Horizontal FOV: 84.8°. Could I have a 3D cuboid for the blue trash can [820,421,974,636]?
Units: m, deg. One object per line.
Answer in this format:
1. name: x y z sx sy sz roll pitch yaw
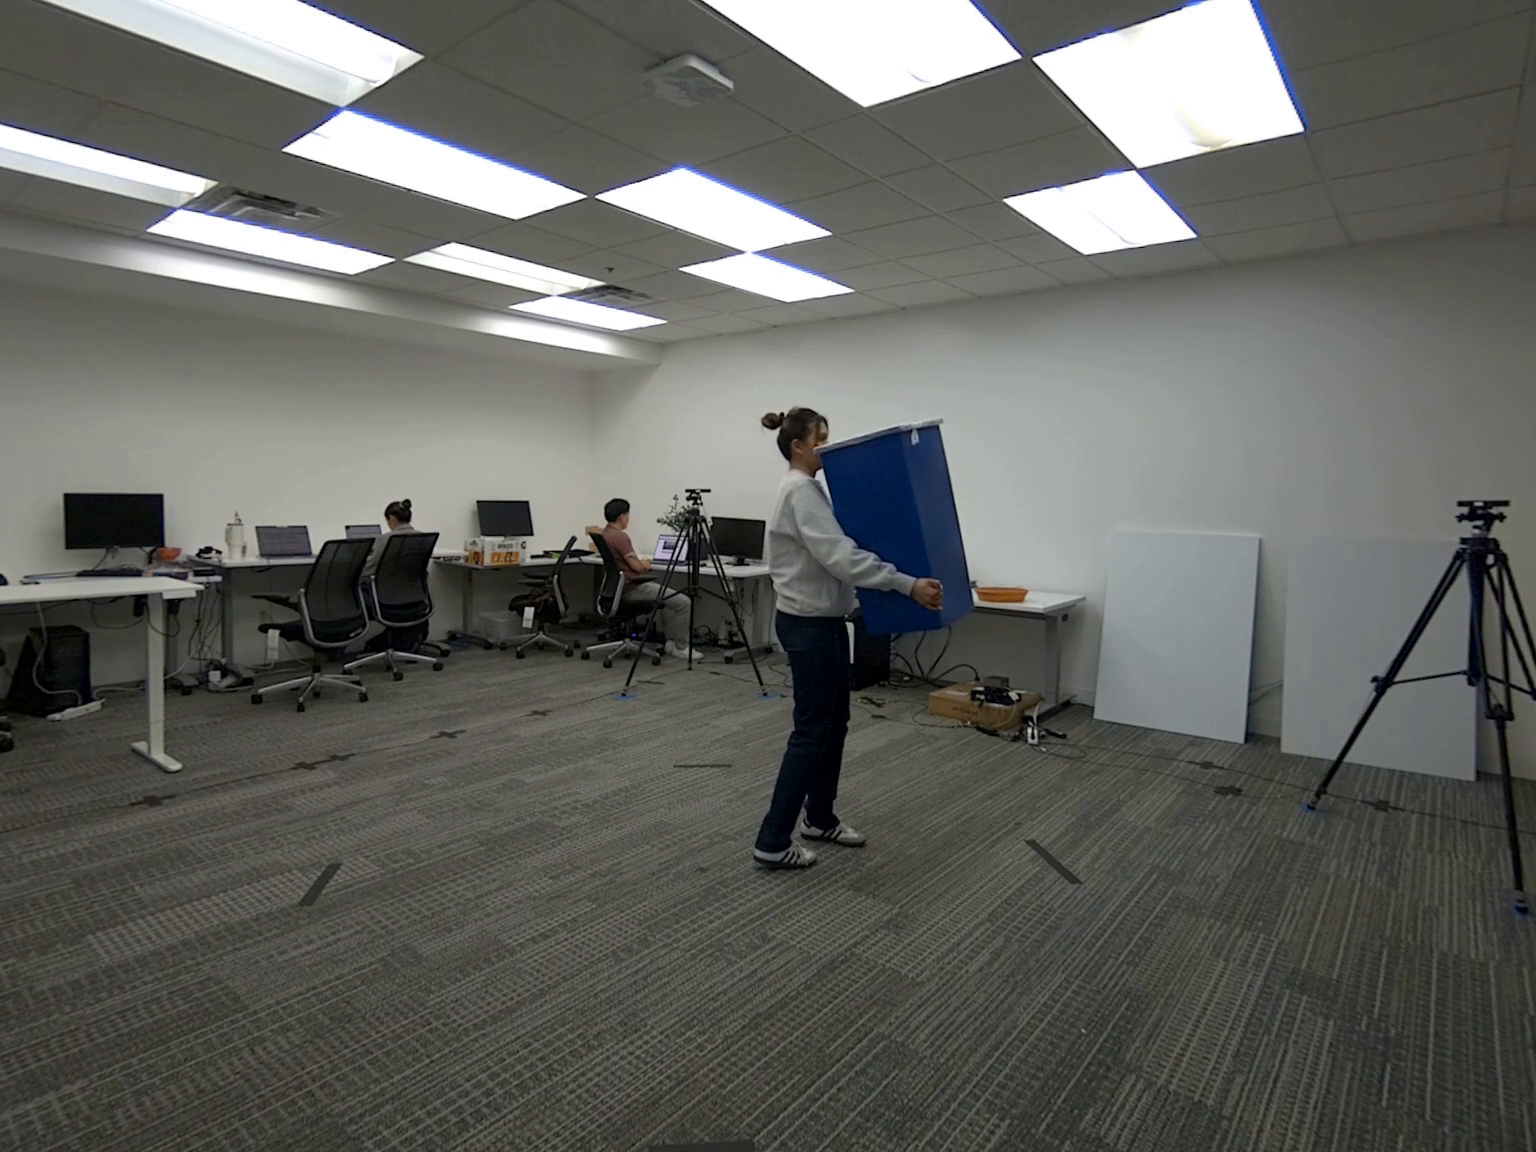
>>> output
1. blue trash can: 0.464 -0.181 3.120 0.383 0.712 0.370 -11 4 39
